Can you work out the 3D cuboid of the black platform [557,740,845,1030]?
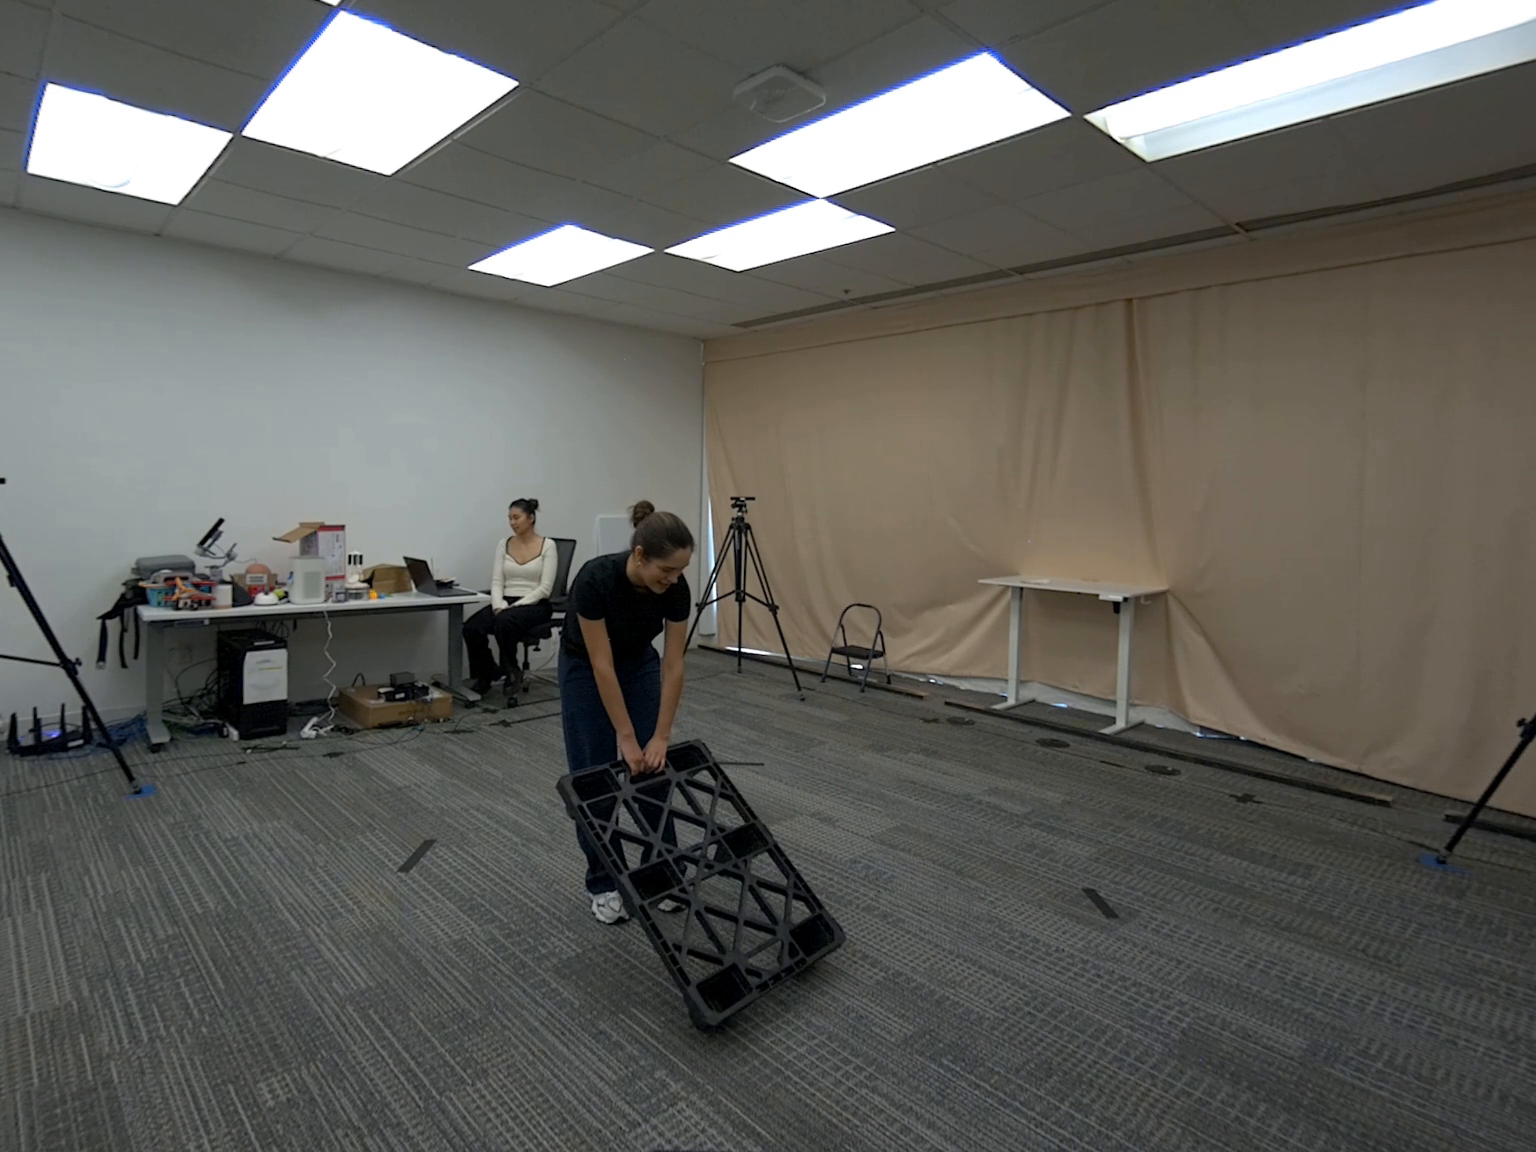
[{"bbox_3d":[-0.218,0.890,2.518,0.591,0.142,0.828,-3,42,-49],"label":"black platform"}]
